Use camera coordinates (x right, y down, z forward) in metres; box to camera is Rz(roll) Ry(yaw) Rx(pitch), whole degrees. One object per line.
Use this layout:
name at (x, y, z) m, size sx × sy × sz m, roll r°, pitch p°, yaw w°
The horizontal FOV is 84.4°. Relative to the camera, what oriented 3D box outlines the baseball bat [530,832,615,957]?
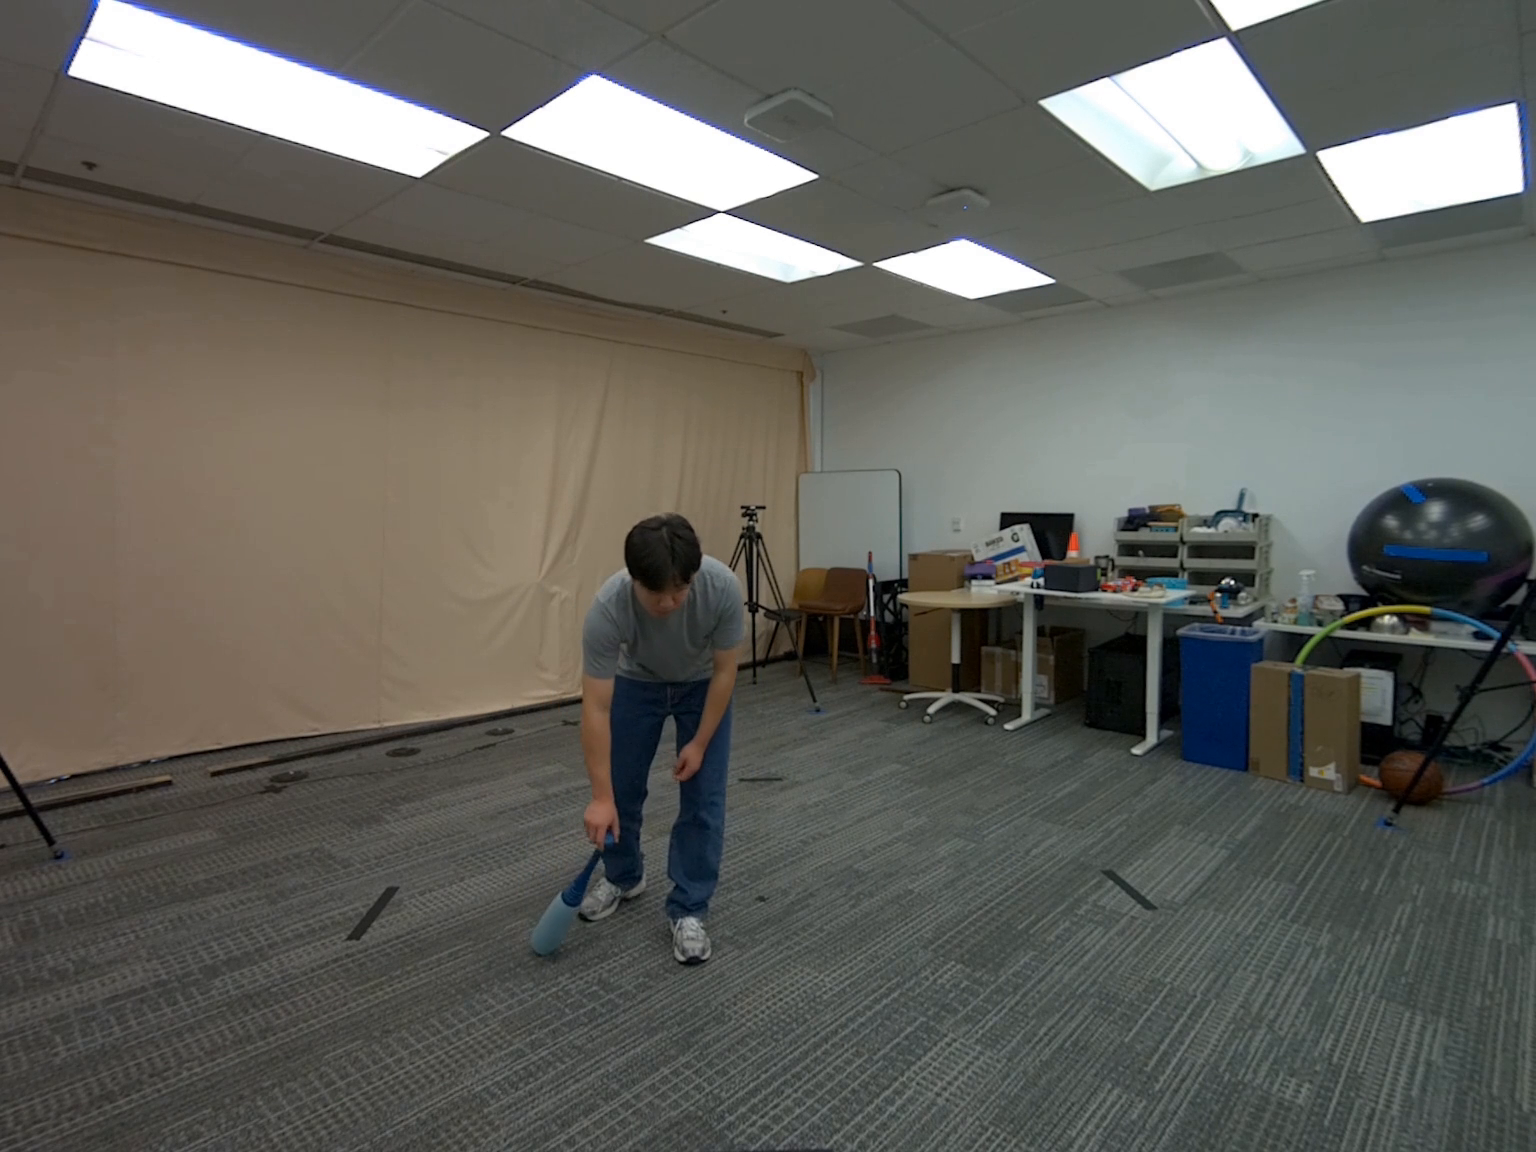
baseball bat at (-0.584, 0.955, 2.519) m, size 0.087 × 0.542 × 0.090 m, roll 22°, pitch 29°, yaw -15°
